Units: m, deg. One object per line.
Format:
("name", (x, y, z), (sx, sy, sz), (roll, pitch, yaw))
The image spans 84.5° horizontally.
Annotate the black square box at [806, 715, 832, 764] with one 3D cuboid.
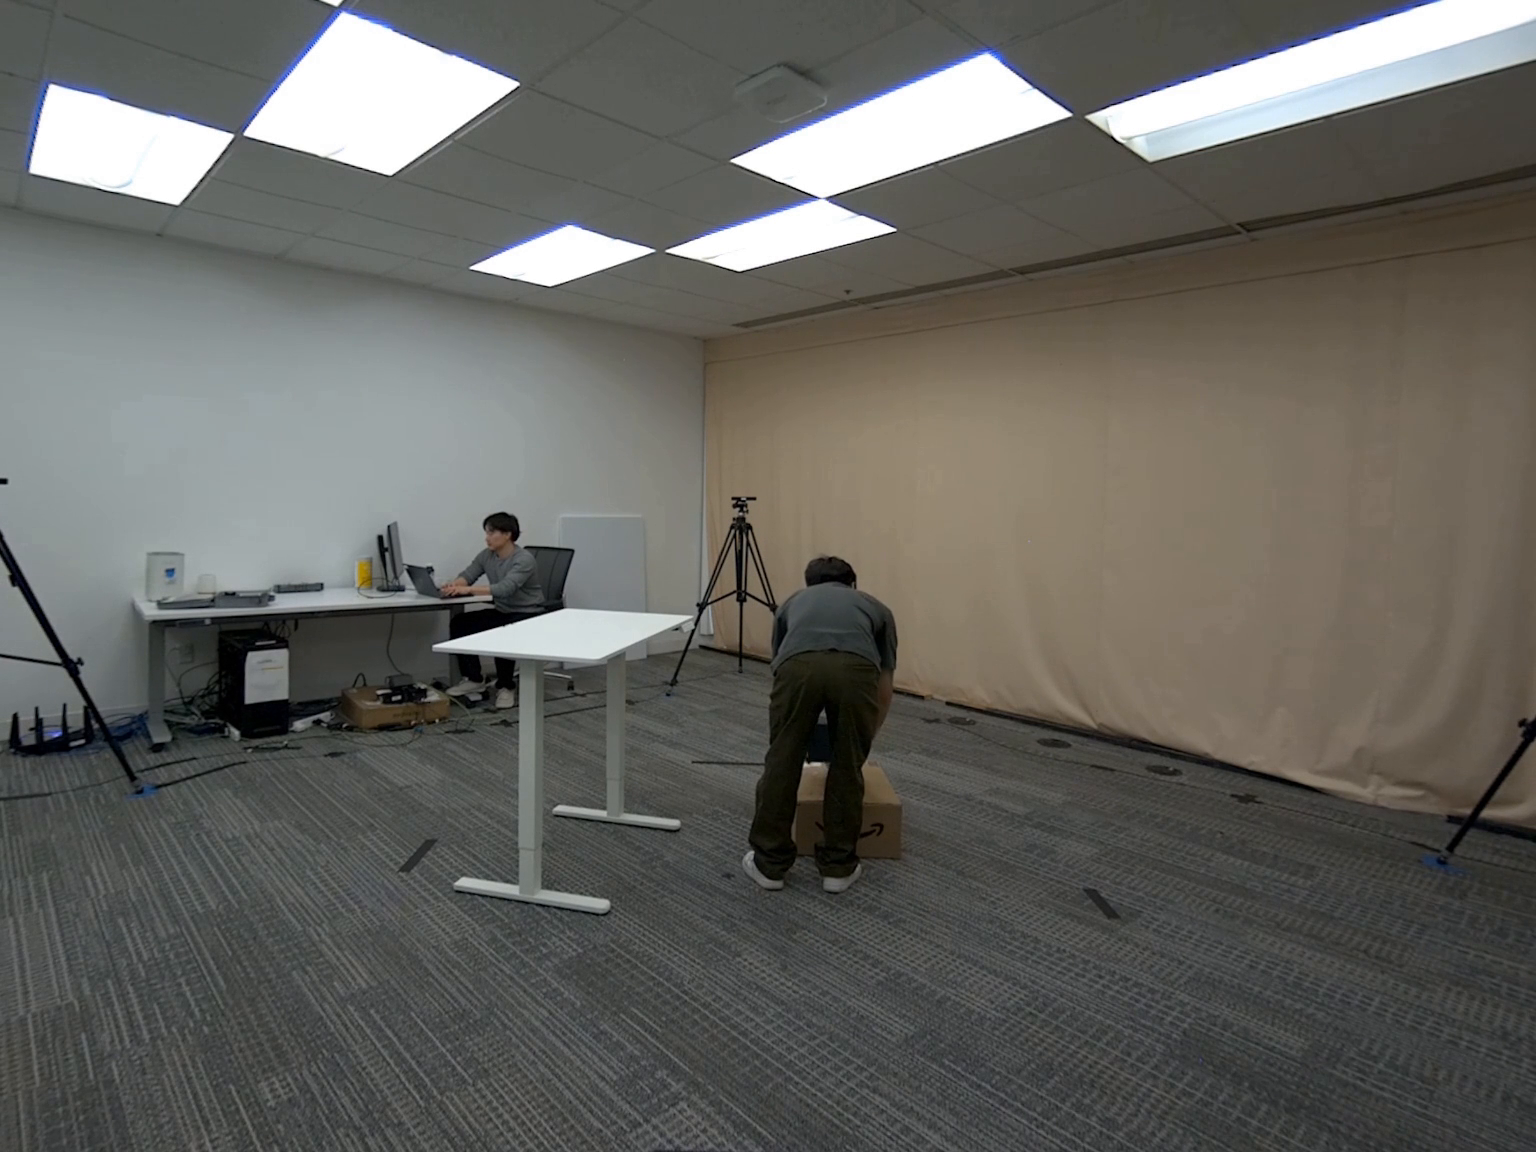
("black square box", (0.273, 0.683, 3.517), (0.218, 0.156, 0.226), (1, -3, 5))
